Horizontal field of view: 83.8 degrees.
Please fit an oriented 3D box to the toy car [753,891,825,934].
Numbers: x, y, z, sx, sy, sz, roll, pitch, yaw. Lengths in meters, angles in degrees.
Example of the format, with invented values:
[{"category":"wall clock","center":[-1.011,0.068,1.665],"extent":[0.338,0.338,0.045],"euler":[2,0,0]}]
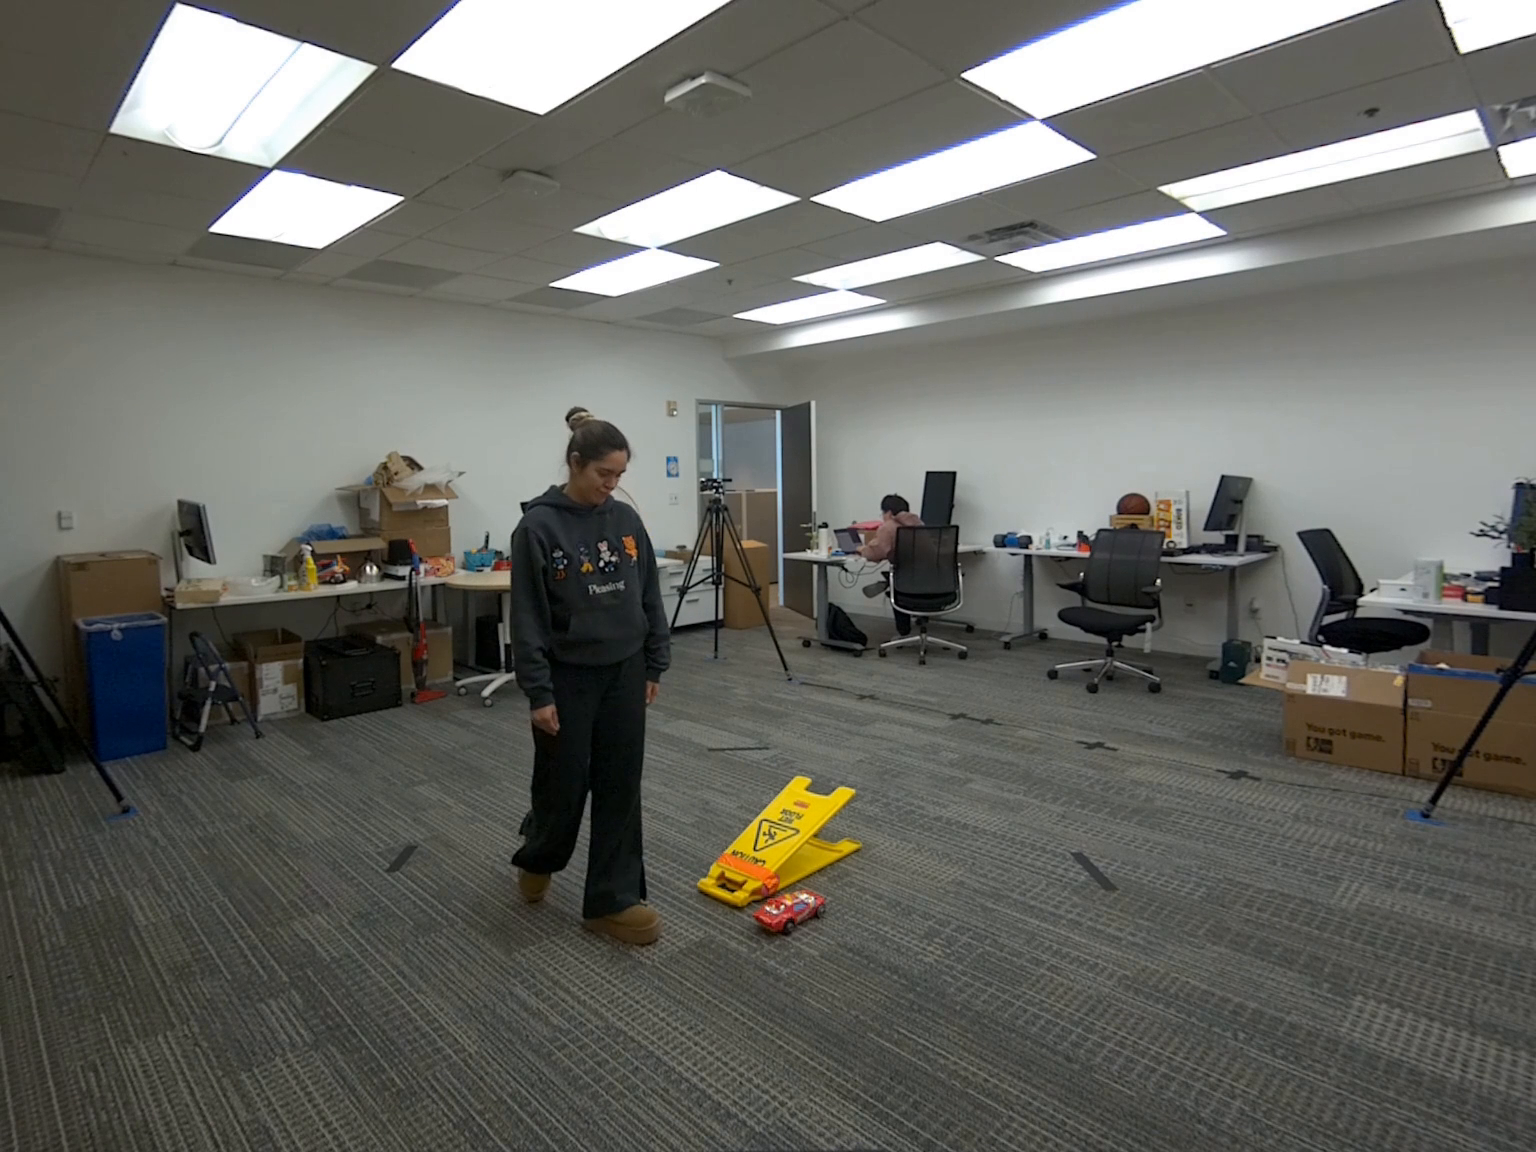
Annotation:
[{"category":"toy car","center":[0.068,1.057,2.681],"extent":[0.246,0.083,0.134],"euler":[8,-2,-41]}]
